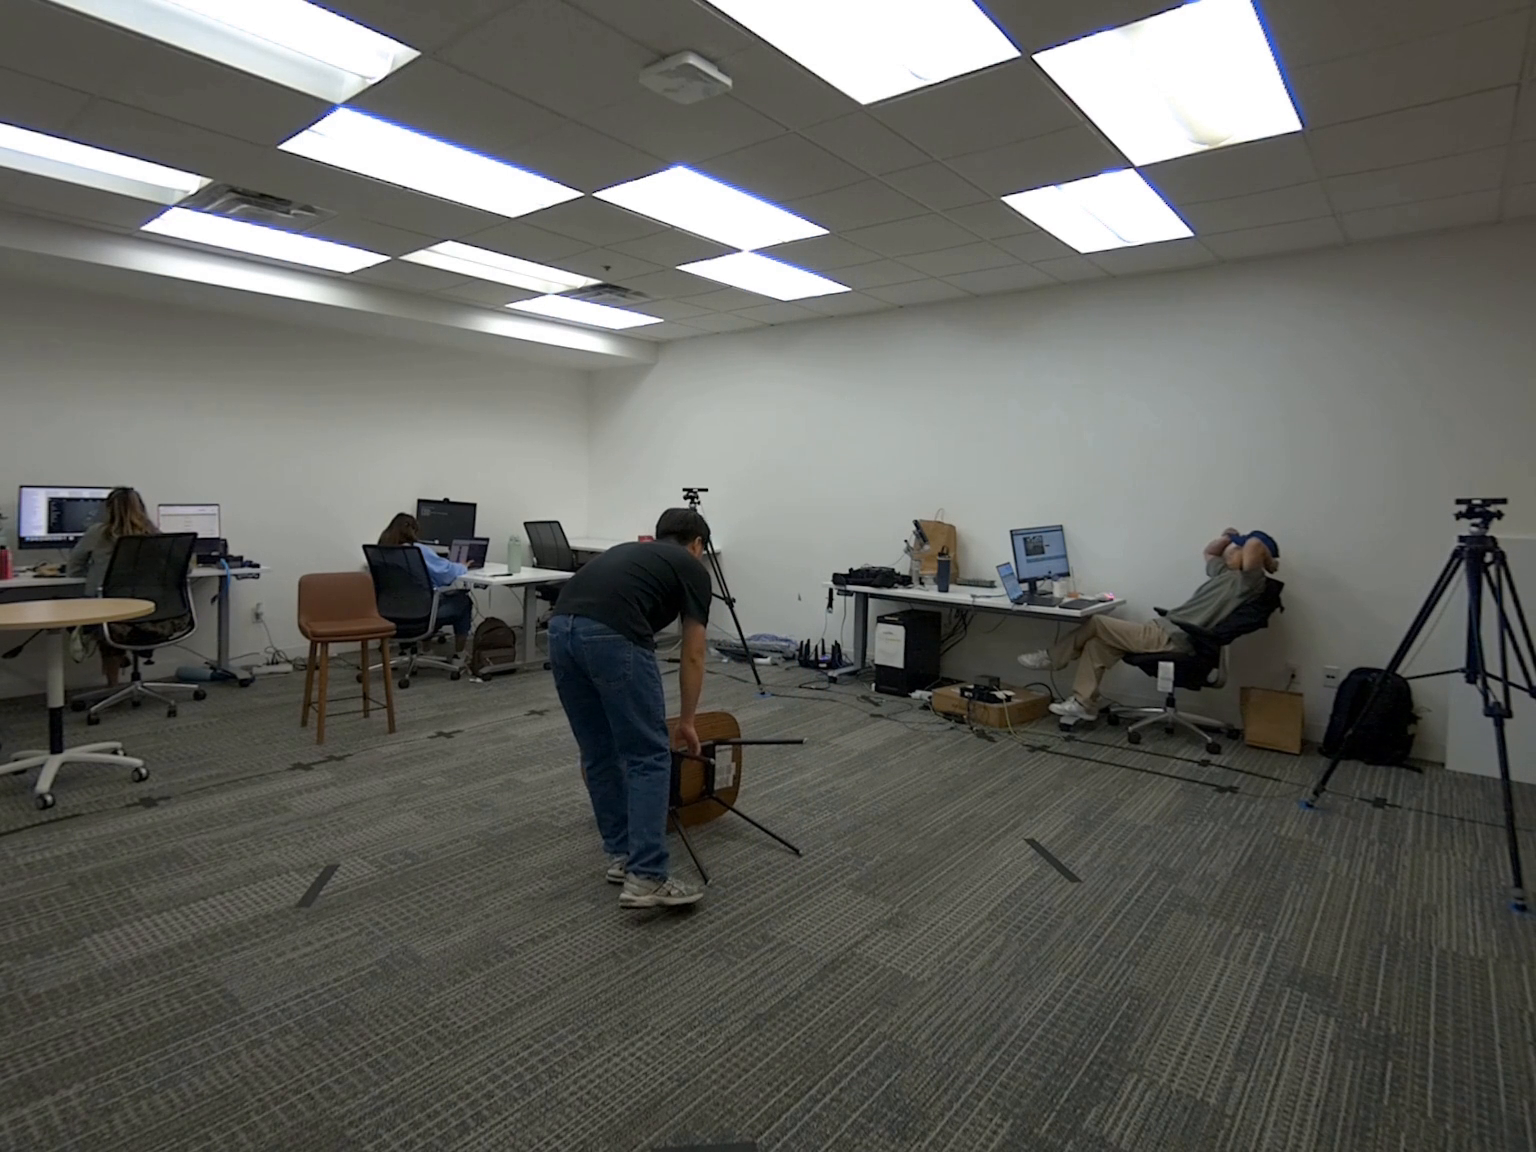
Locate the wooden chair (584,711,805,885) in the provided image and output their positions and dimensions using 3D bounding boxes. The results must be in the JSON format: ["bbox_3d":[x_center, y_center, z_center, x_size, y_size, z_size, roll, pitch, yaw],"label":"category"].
[{"bbox_3d":[-0.312,0.804,3.444,0.507,0.476,0.908,-3,7,-43],"label":"wooden chair"}]
